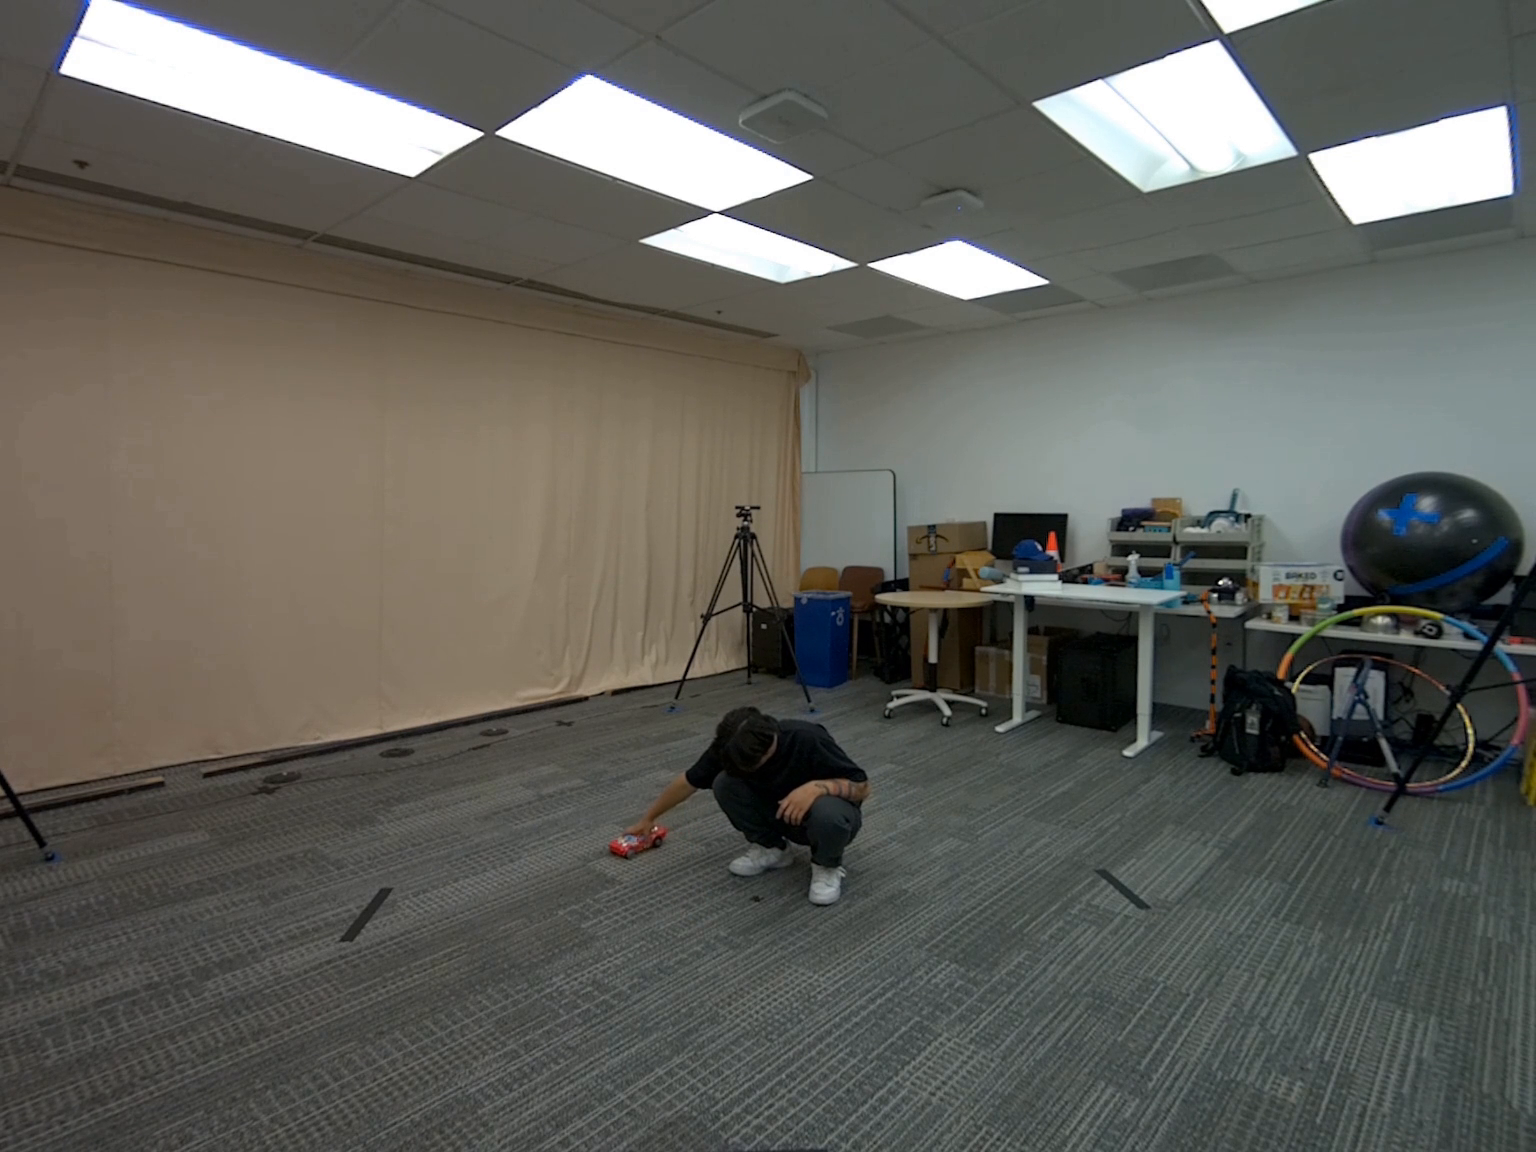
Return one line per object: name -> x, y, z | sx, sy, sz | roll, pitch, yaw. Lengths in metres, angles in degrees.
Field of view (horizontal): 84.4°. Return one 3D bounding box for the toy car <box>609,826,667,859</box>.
toy car -> -0.524, 1.081, 3.441 | 0.134, 0.082, 0.248 | 3, 17, 42
